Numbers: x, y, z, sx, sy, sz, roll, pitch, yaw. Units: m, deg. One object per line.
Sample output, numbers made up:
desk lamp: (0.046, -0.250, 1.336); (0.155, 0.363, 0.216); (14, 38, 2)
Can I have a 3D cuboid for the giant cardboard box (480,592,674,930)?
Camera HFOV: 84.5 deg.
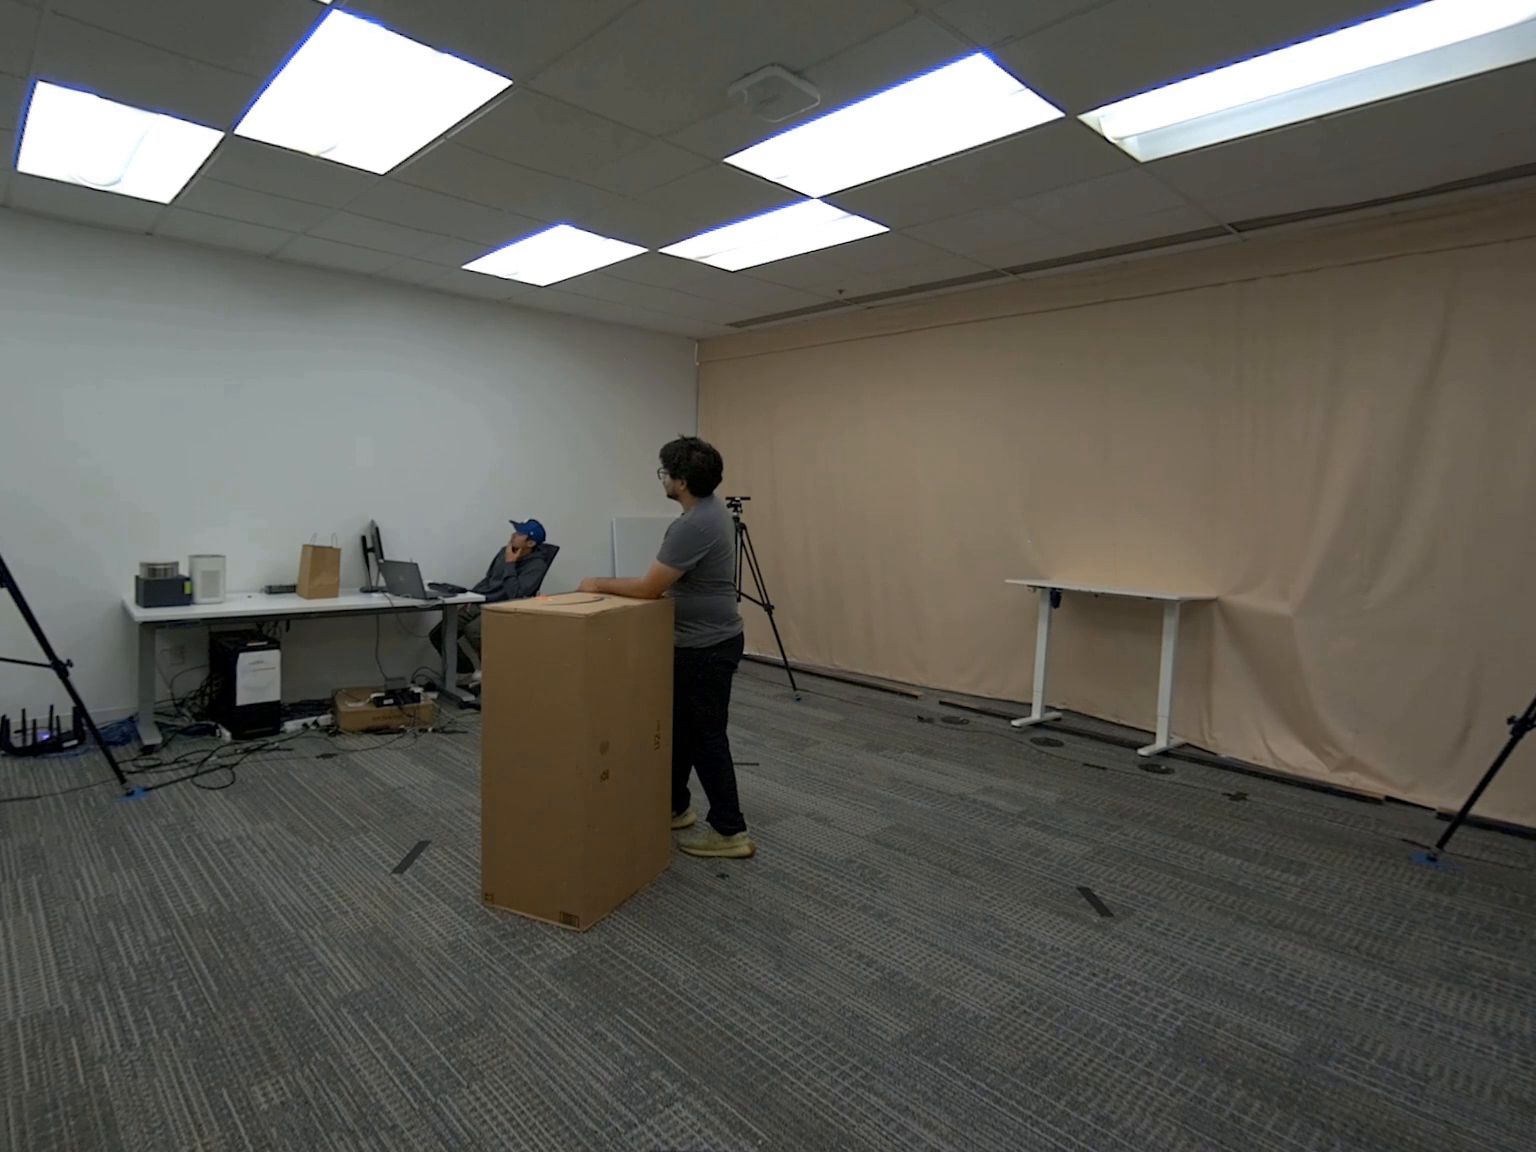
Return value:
giant cardboard box: (-0.675, 0.598, 2.988); (0.434, 1.023, 0.567); (3, 4, 25)
